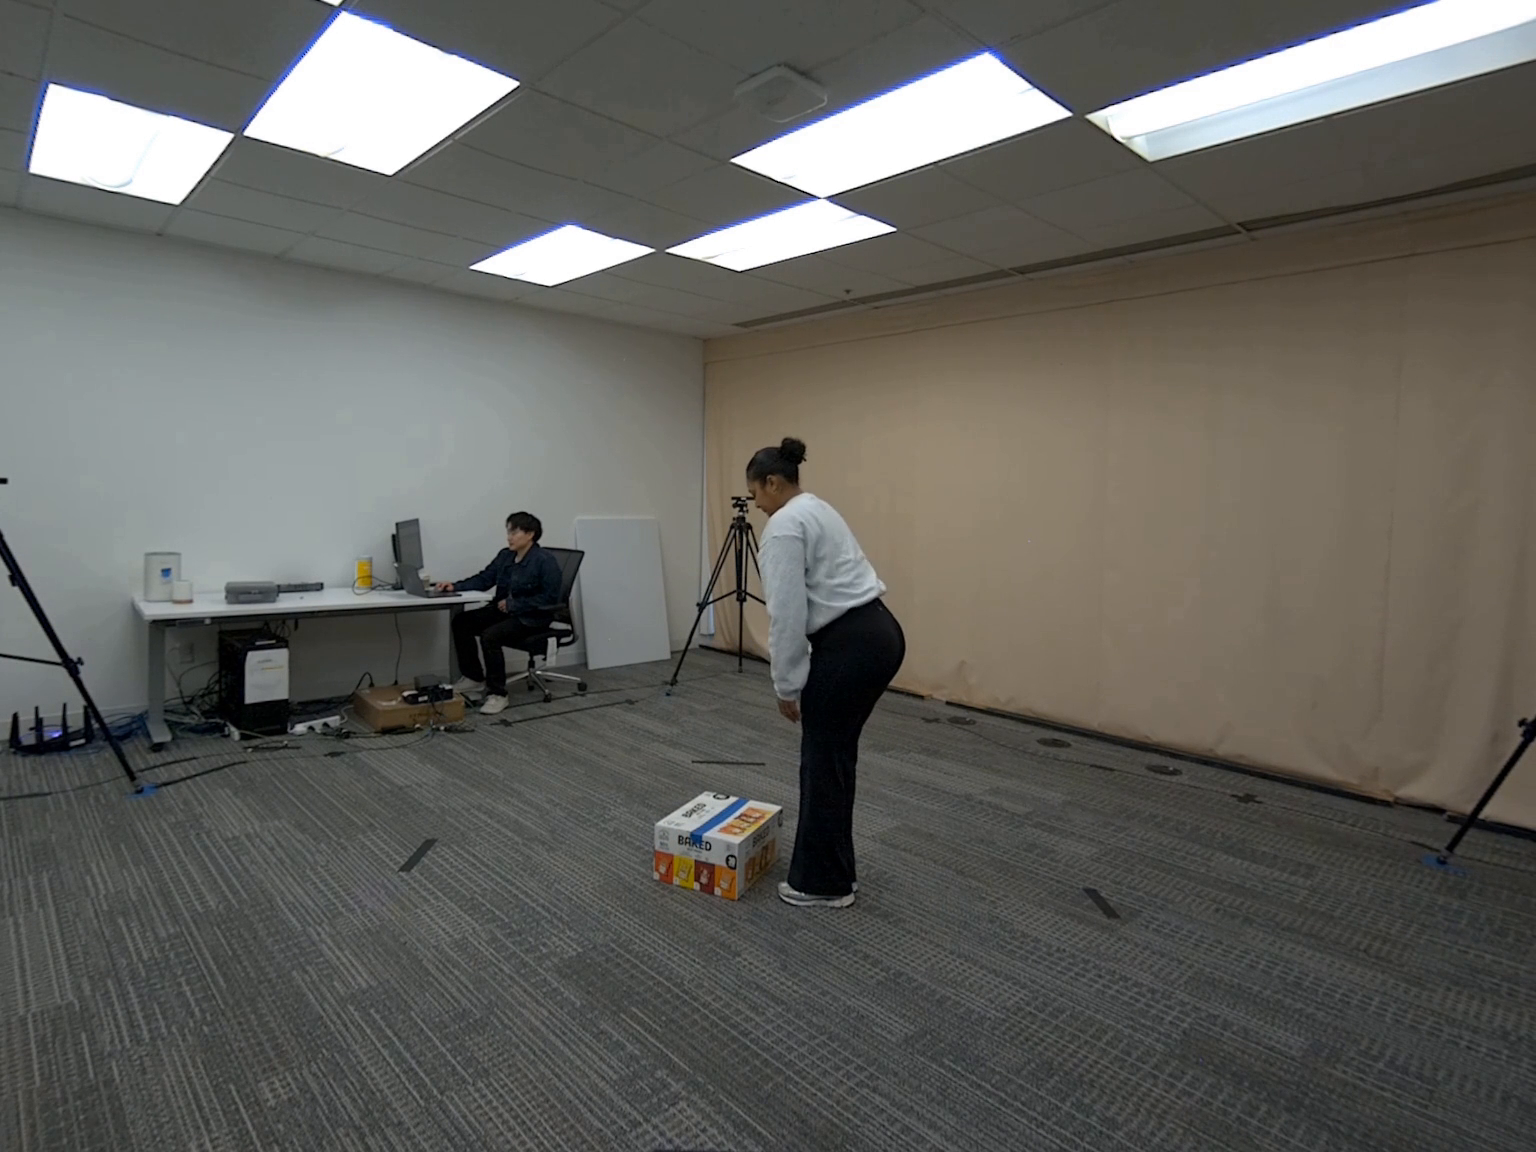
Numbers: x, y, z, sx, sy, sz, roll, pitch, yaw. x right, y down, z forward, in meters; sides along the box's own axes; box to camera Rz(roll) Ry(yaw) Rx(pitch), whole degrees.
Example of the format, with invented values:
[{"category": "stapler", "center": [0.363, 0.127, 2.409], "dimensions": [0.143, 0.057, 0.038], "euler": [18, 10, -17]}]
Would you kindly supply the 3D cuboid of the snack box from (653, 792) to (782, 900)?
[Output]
[{"category": "snack box", "center": [-0.187, 0.999, 3.160], "dimensions": [0.347, 0.205, 0.398], "euler": [4, 6, 25]}]
